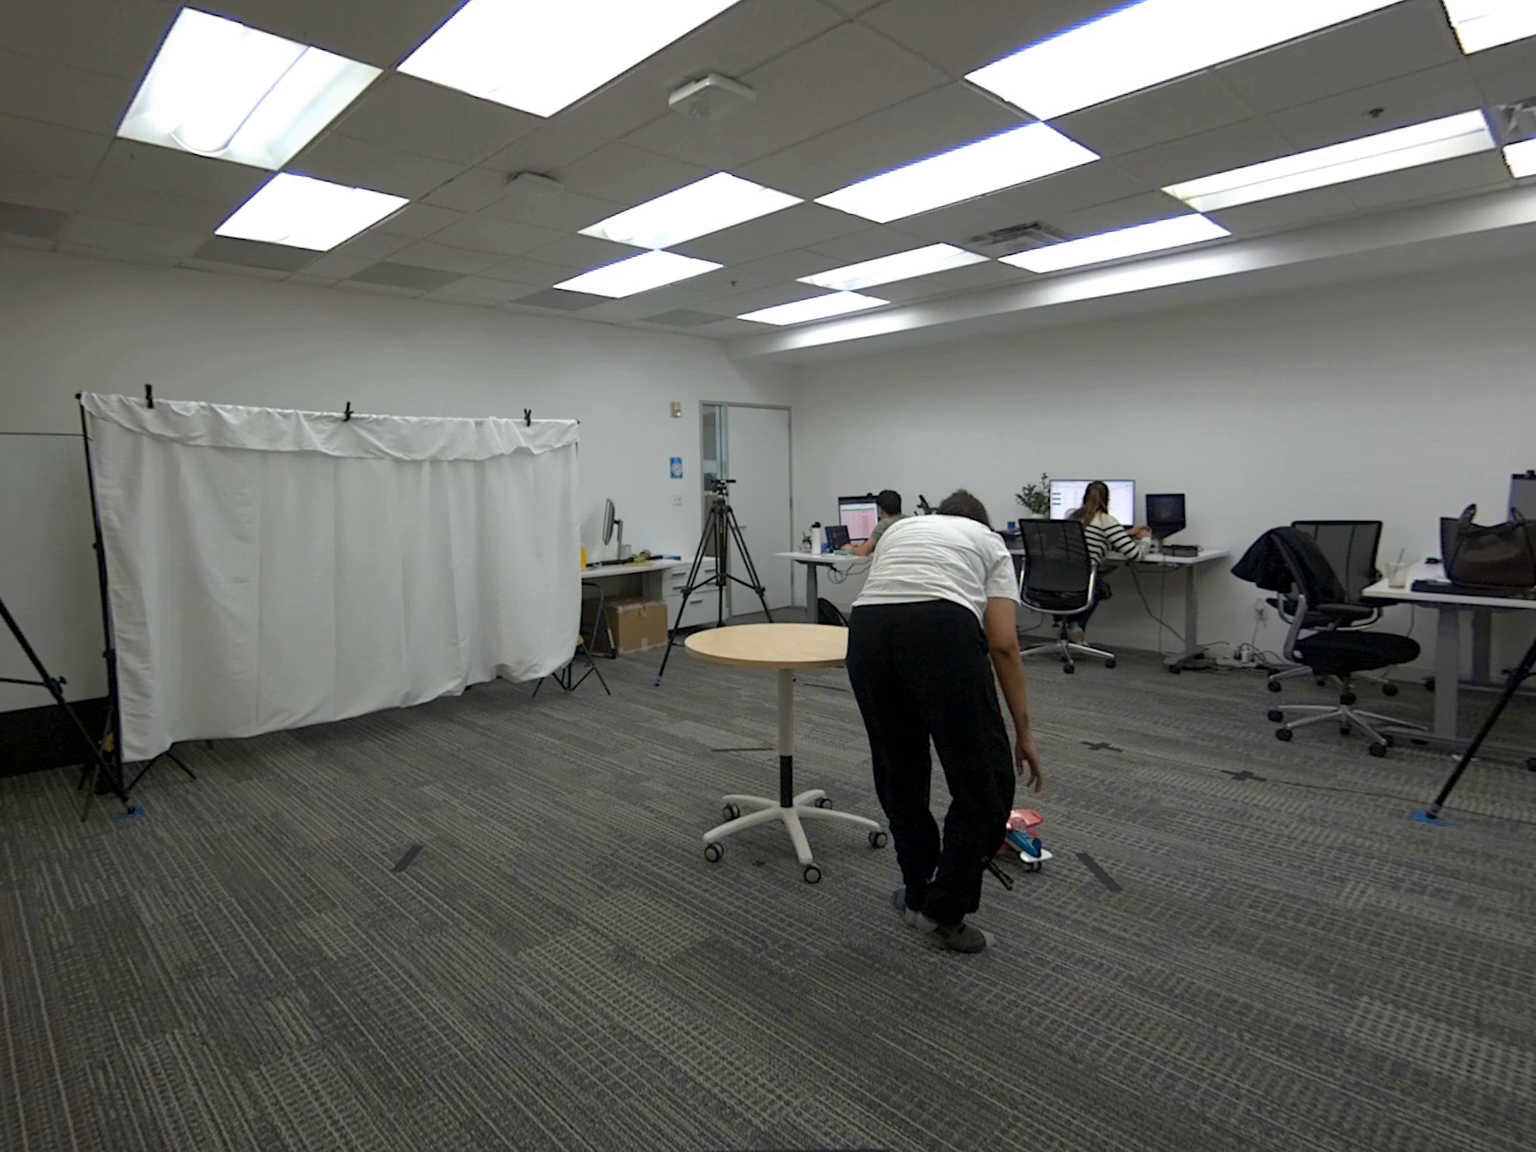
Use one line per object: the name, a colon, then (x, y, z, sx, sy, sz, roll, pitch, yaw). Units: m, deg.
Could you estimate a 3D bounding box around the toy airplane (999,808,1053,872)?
toy airplane: (0.922, 0.960, 3.104, 0.267, 0.156, 0.244, 4, 7, 41)
